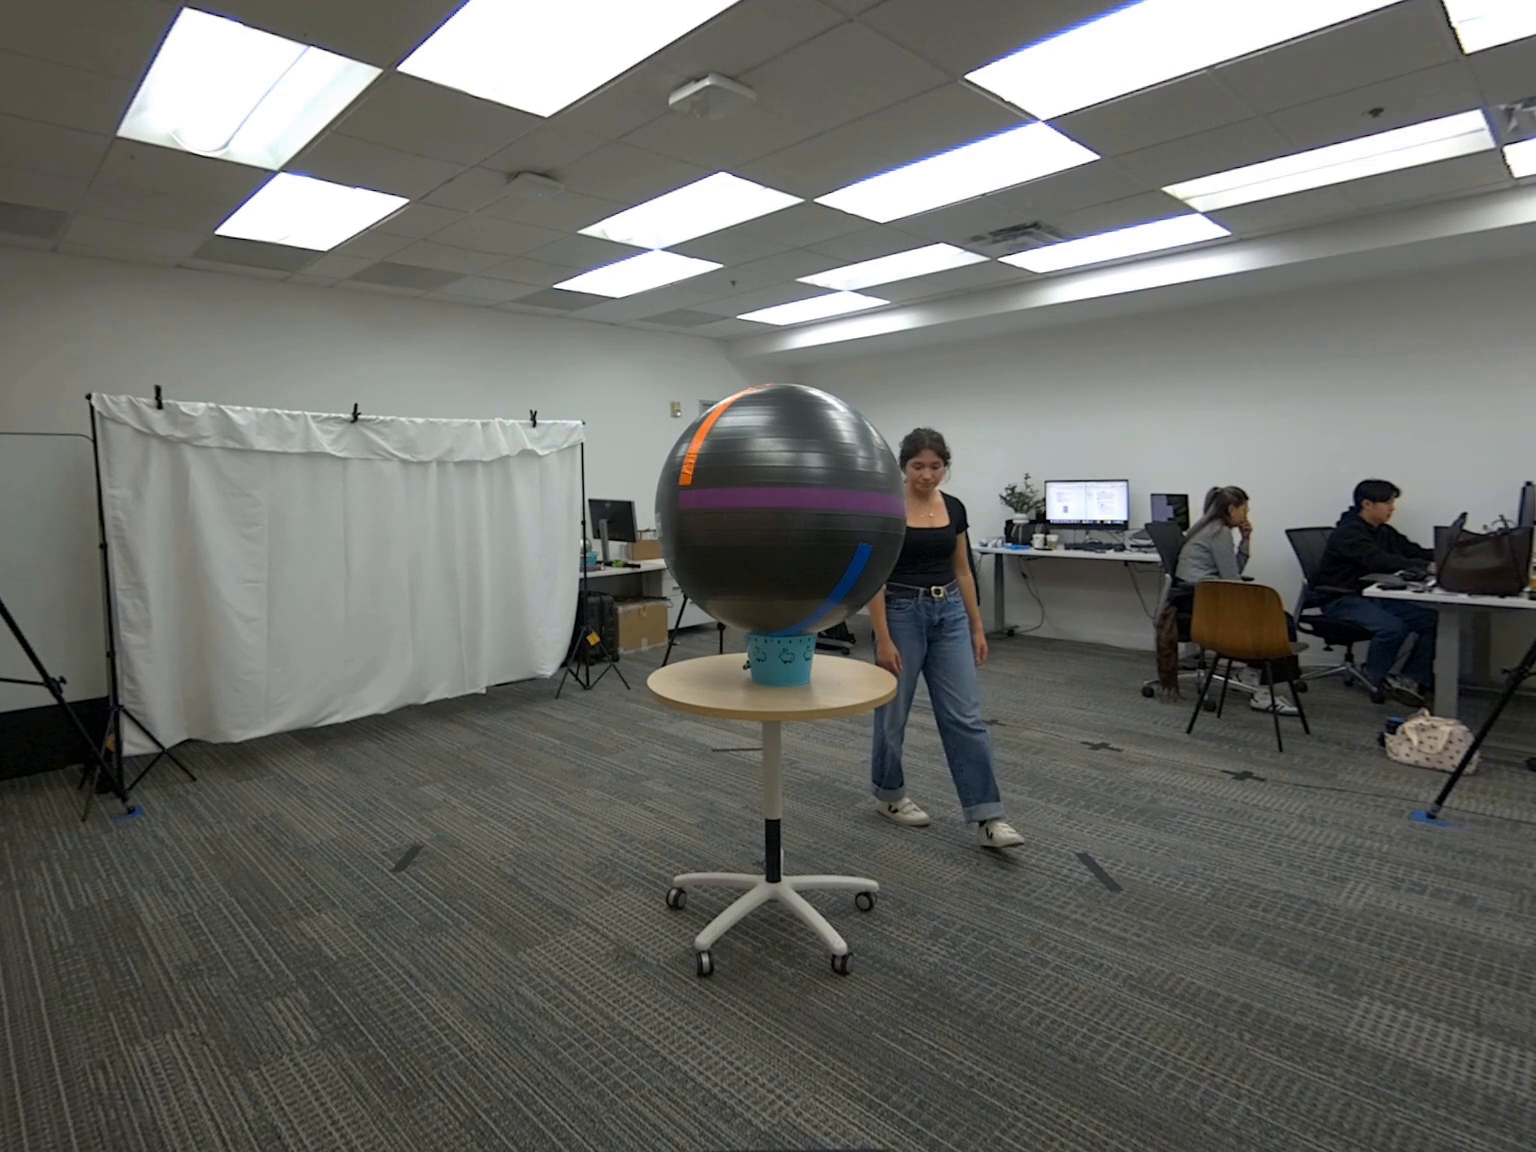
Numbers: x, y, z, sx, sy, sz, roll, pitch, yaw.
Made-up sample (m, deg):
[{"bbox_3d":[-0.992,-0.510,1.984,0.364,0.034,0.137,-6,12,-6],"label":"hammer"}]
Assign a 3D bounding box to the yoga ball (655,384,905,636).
[{"bbox_3d":[0.034,-0.190,2.578,0.757,0.755,0.762,-1,5,-2],"label":"yoga ball"}]
